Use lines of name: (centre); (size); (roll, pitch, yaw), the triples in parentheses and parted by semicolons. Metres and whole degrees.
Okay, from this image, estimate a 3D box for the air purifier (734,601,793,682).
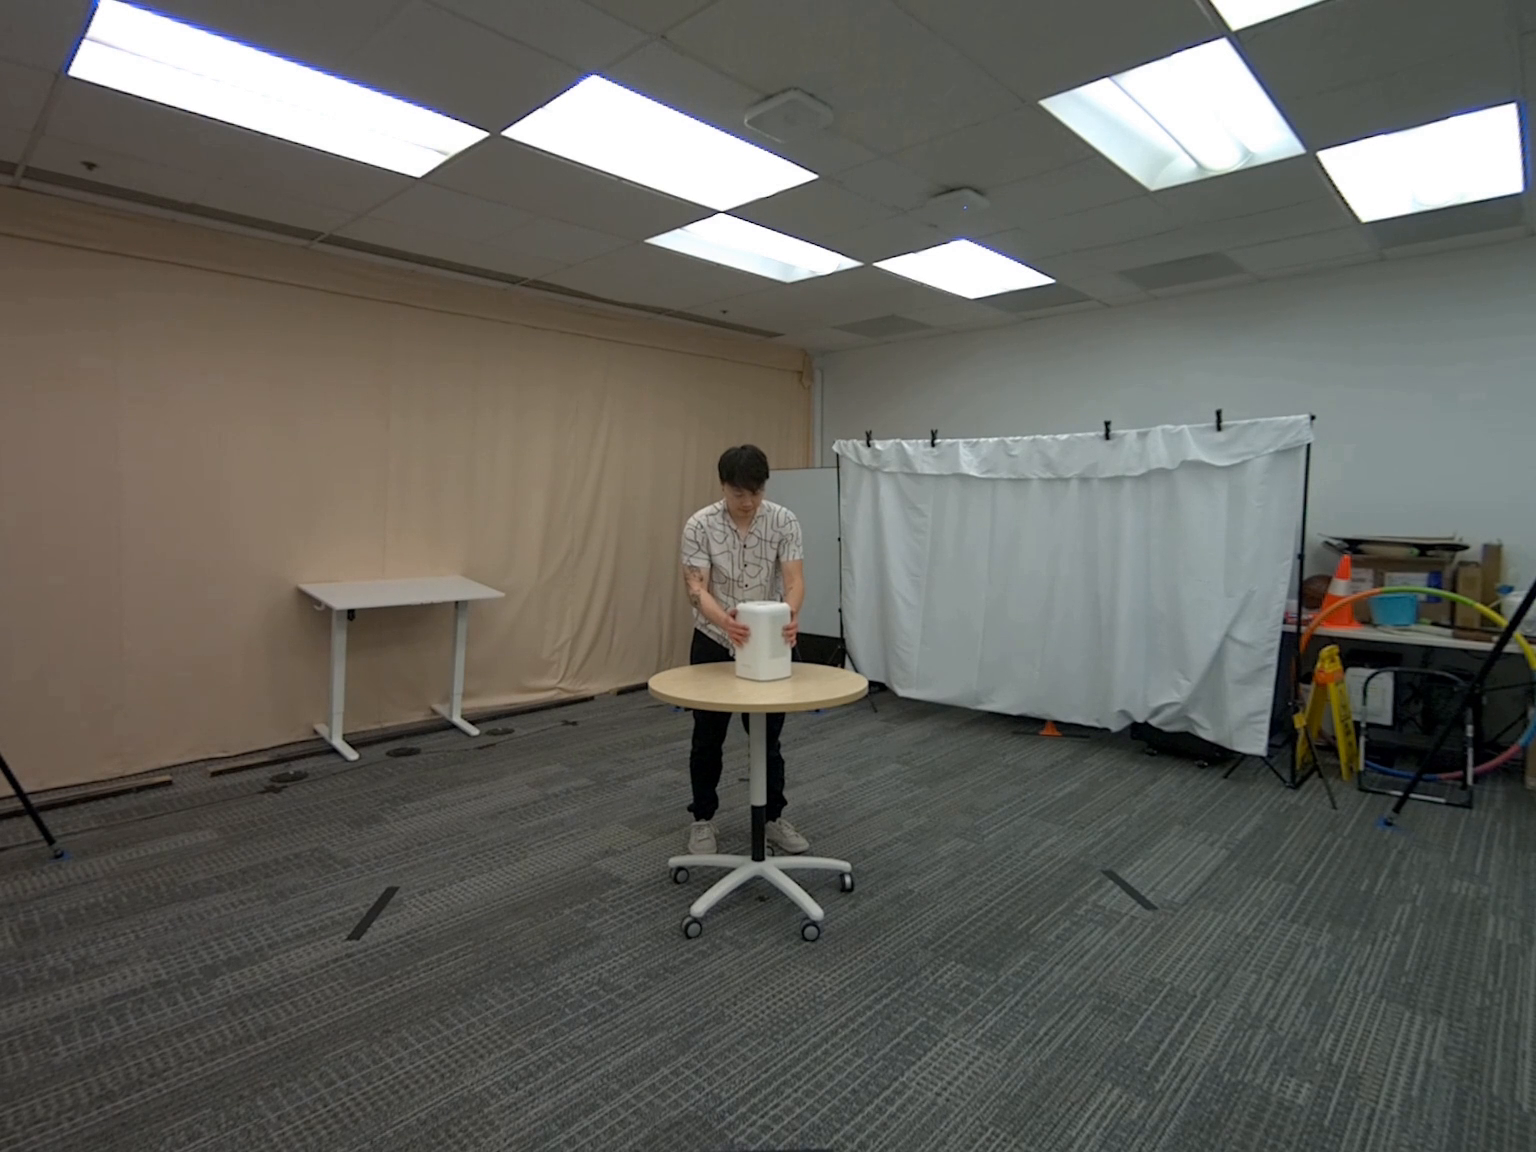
air purifier: (-0.016, 0.227, 3.016); (0.166, 0.265, 0.177); (-3, 4, -43)
